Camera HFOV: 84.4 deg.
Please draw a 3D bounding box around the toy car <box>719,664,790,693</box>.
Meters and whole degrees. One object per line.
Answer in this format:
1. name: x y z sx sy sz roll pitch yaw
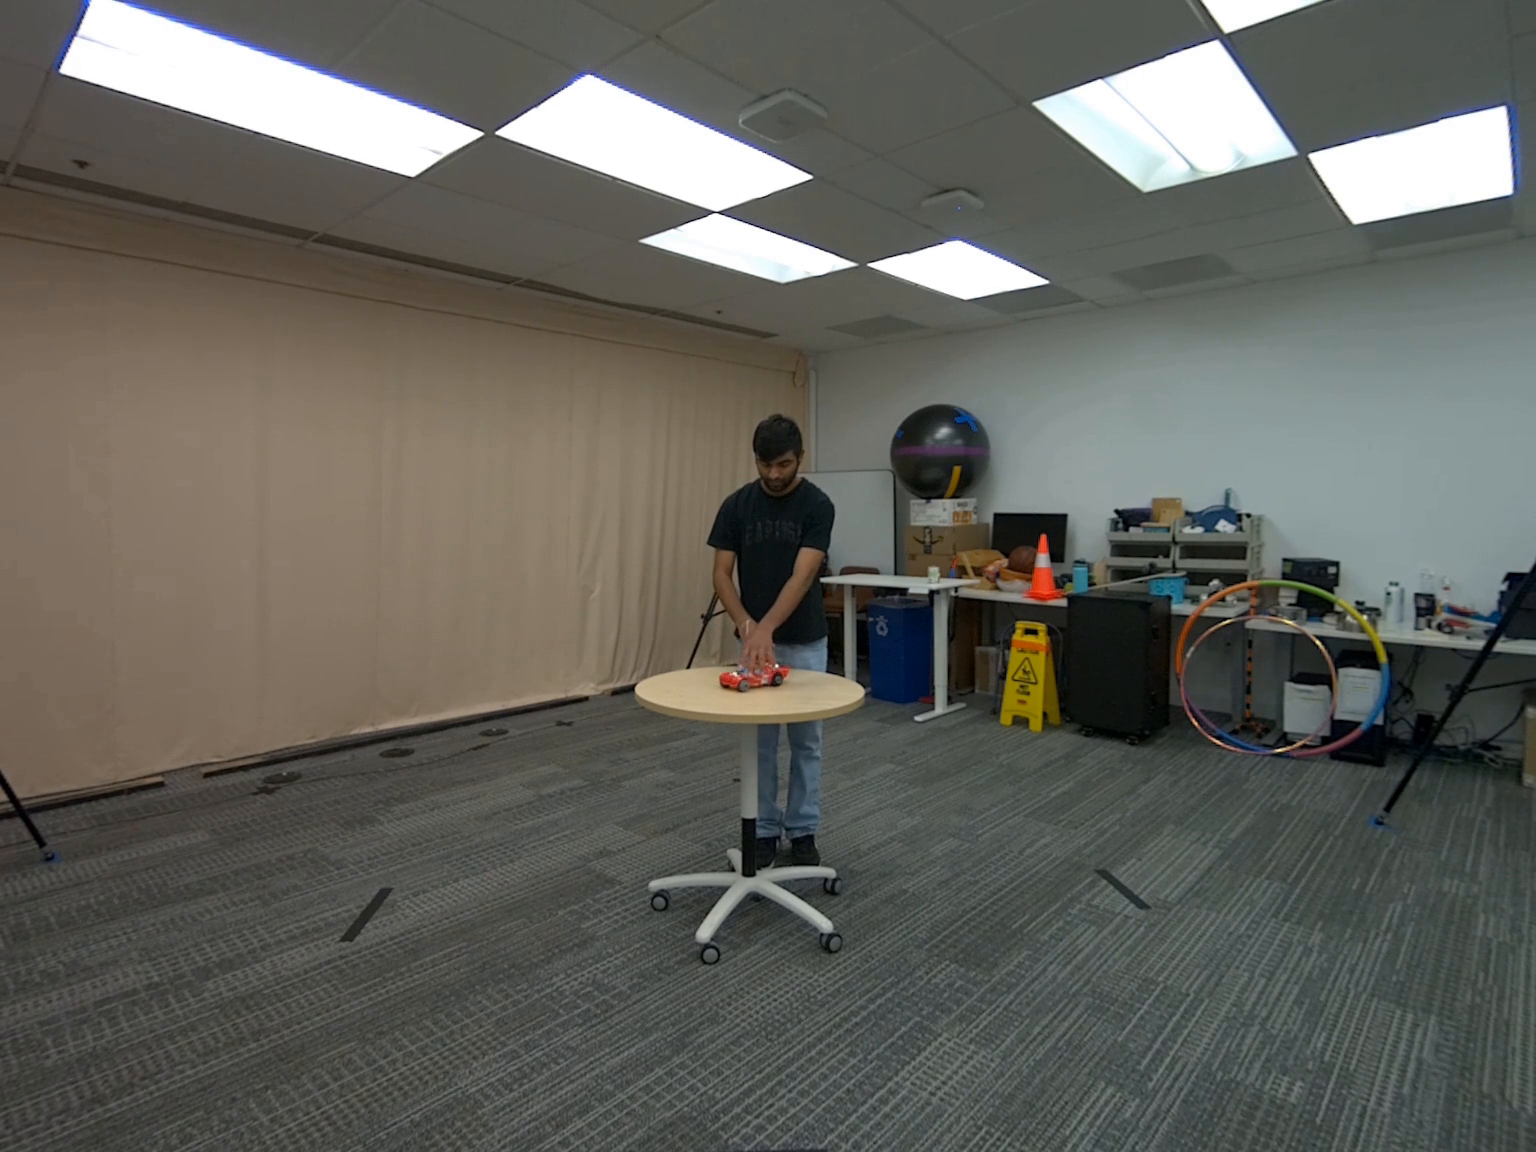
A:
1. toy car: -0.037 0.340 2.854 0.248 0.082 0.134 -17 14 -37
